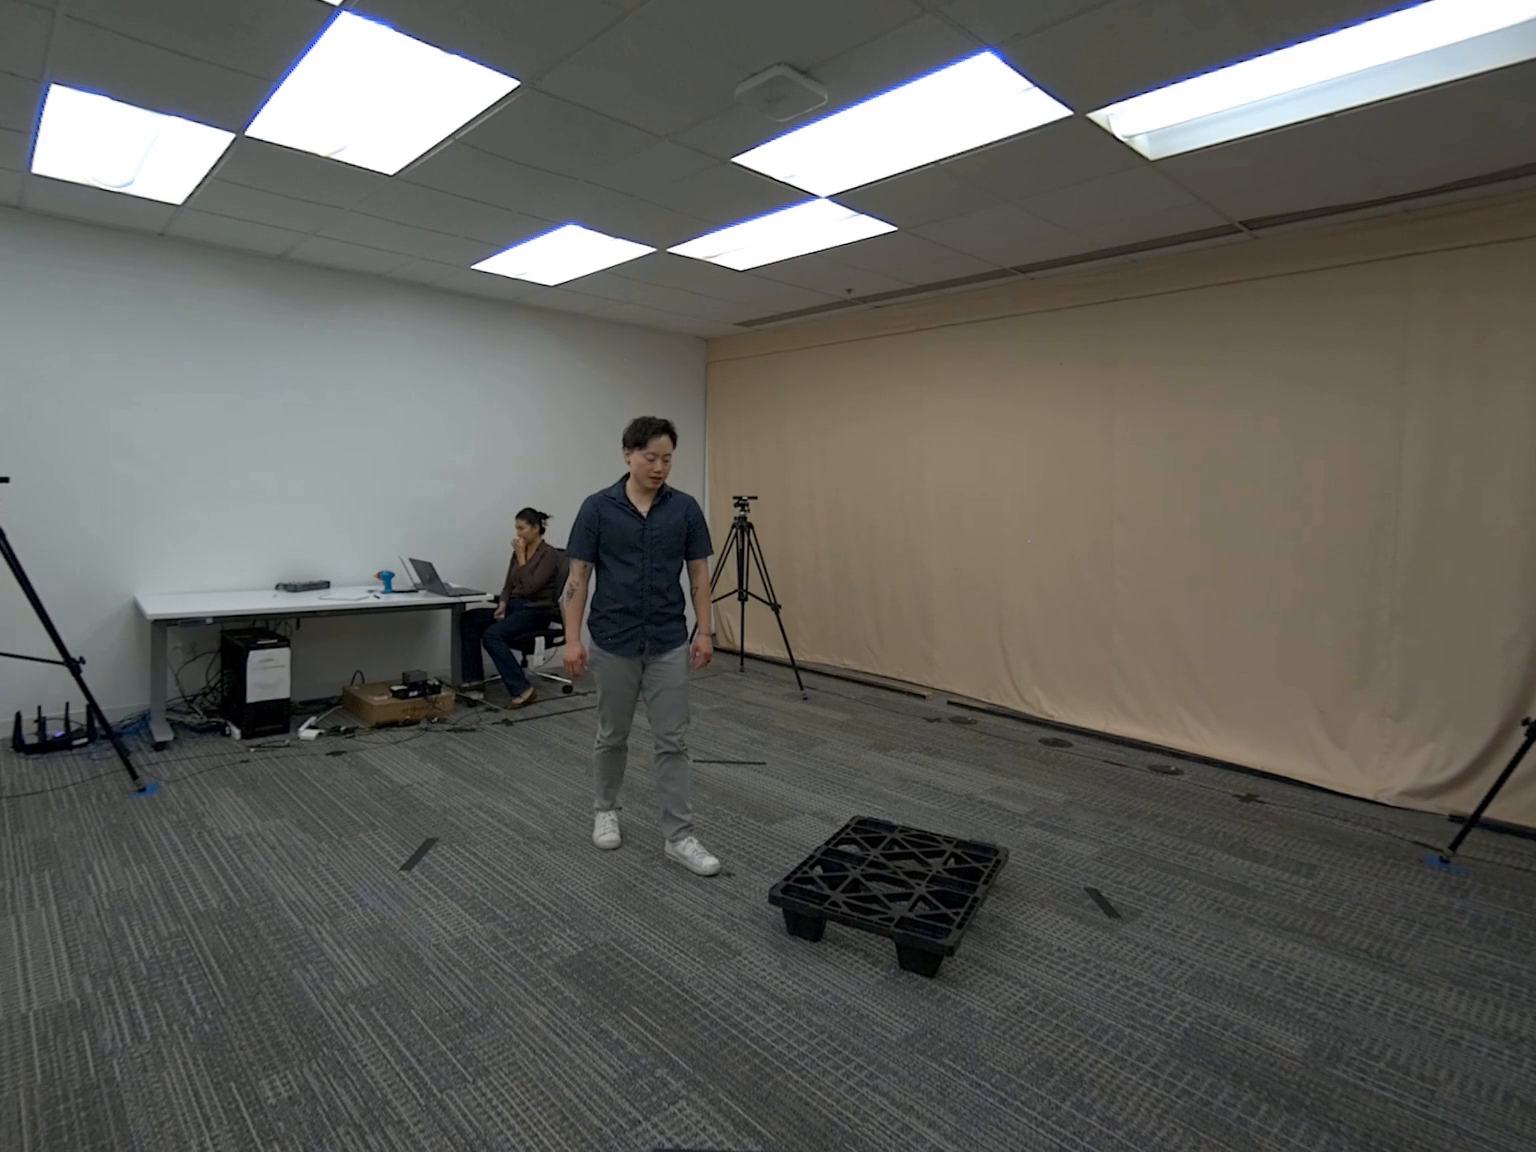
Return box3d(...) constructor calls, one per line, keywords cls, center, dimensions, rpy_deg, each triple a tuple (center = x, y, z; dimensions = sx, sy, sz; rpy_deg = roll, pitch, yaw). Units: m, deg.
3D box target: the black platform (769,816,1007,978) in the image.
box3d(cls="black platform", center=(0.424, 1.067, 2.882), dimensions=(0.618, 0.143, 0.791), rpy_deg=(4, 6, 28))
